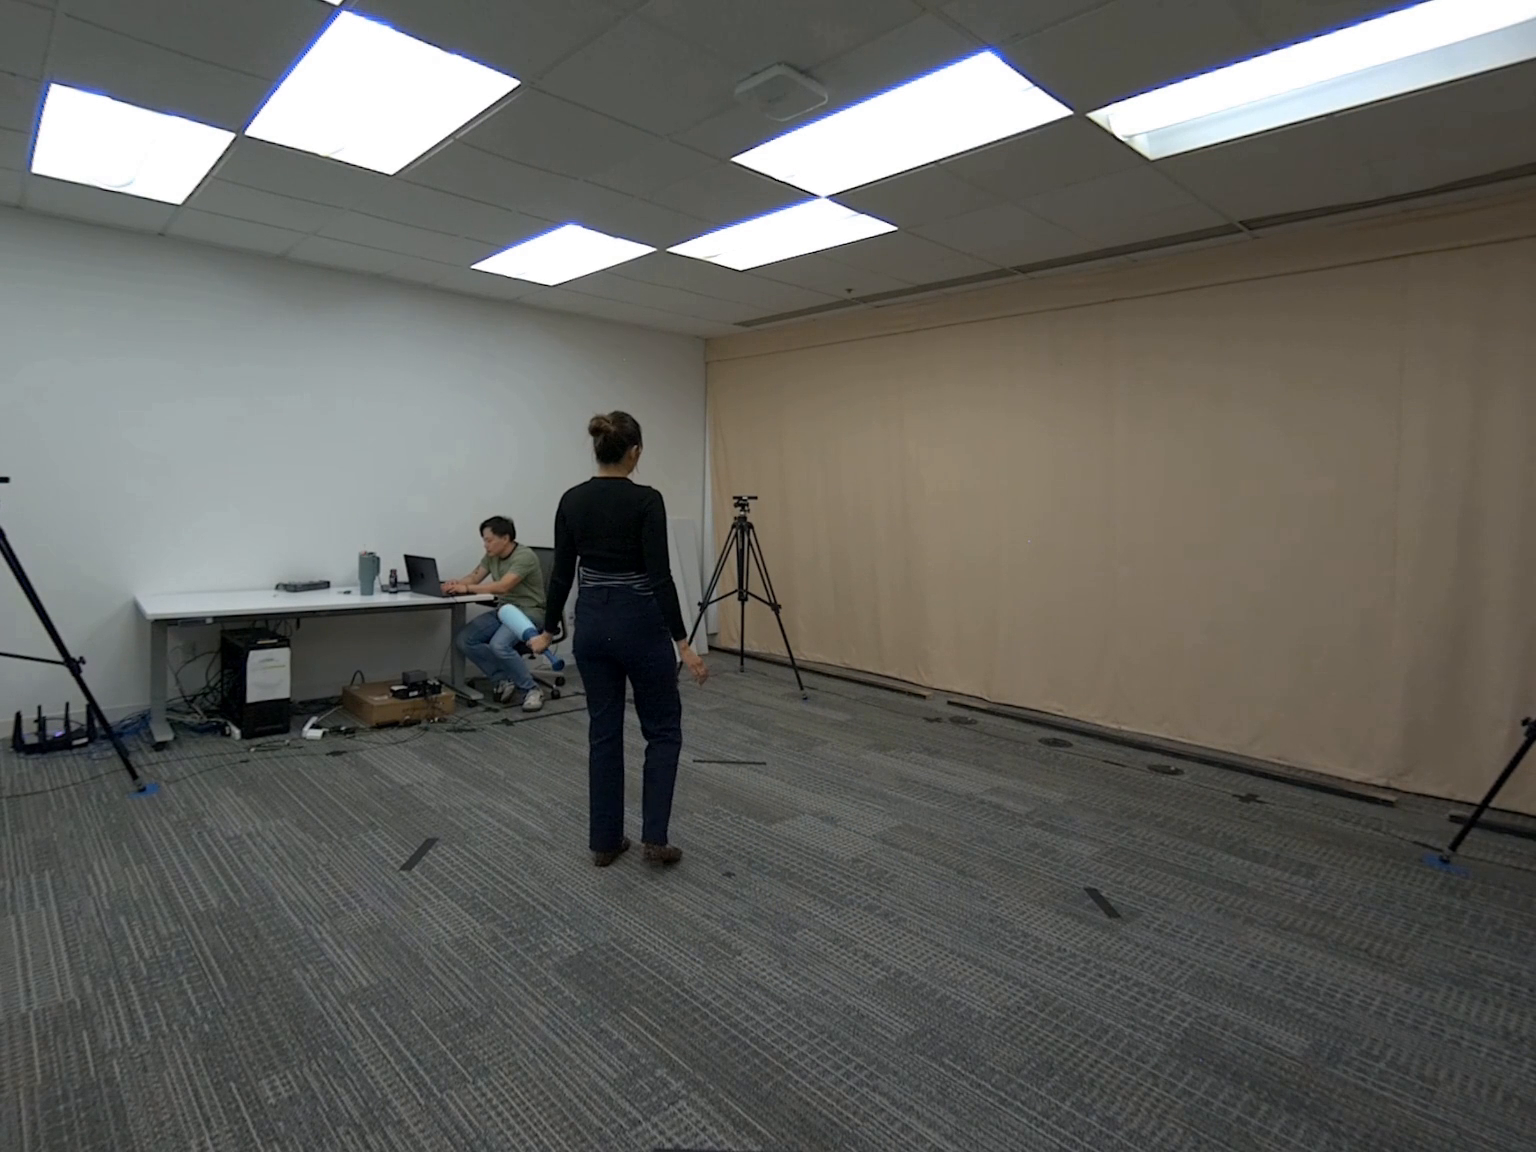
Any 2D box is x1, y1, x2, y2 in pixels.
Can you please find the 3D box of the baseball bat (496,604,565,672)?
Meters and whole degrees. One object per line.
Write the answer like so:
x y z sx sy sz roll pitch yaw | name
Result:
-0.960 0.234 3.425 0.087 0.088 0.560 -2 22 -37 | baseball bat
